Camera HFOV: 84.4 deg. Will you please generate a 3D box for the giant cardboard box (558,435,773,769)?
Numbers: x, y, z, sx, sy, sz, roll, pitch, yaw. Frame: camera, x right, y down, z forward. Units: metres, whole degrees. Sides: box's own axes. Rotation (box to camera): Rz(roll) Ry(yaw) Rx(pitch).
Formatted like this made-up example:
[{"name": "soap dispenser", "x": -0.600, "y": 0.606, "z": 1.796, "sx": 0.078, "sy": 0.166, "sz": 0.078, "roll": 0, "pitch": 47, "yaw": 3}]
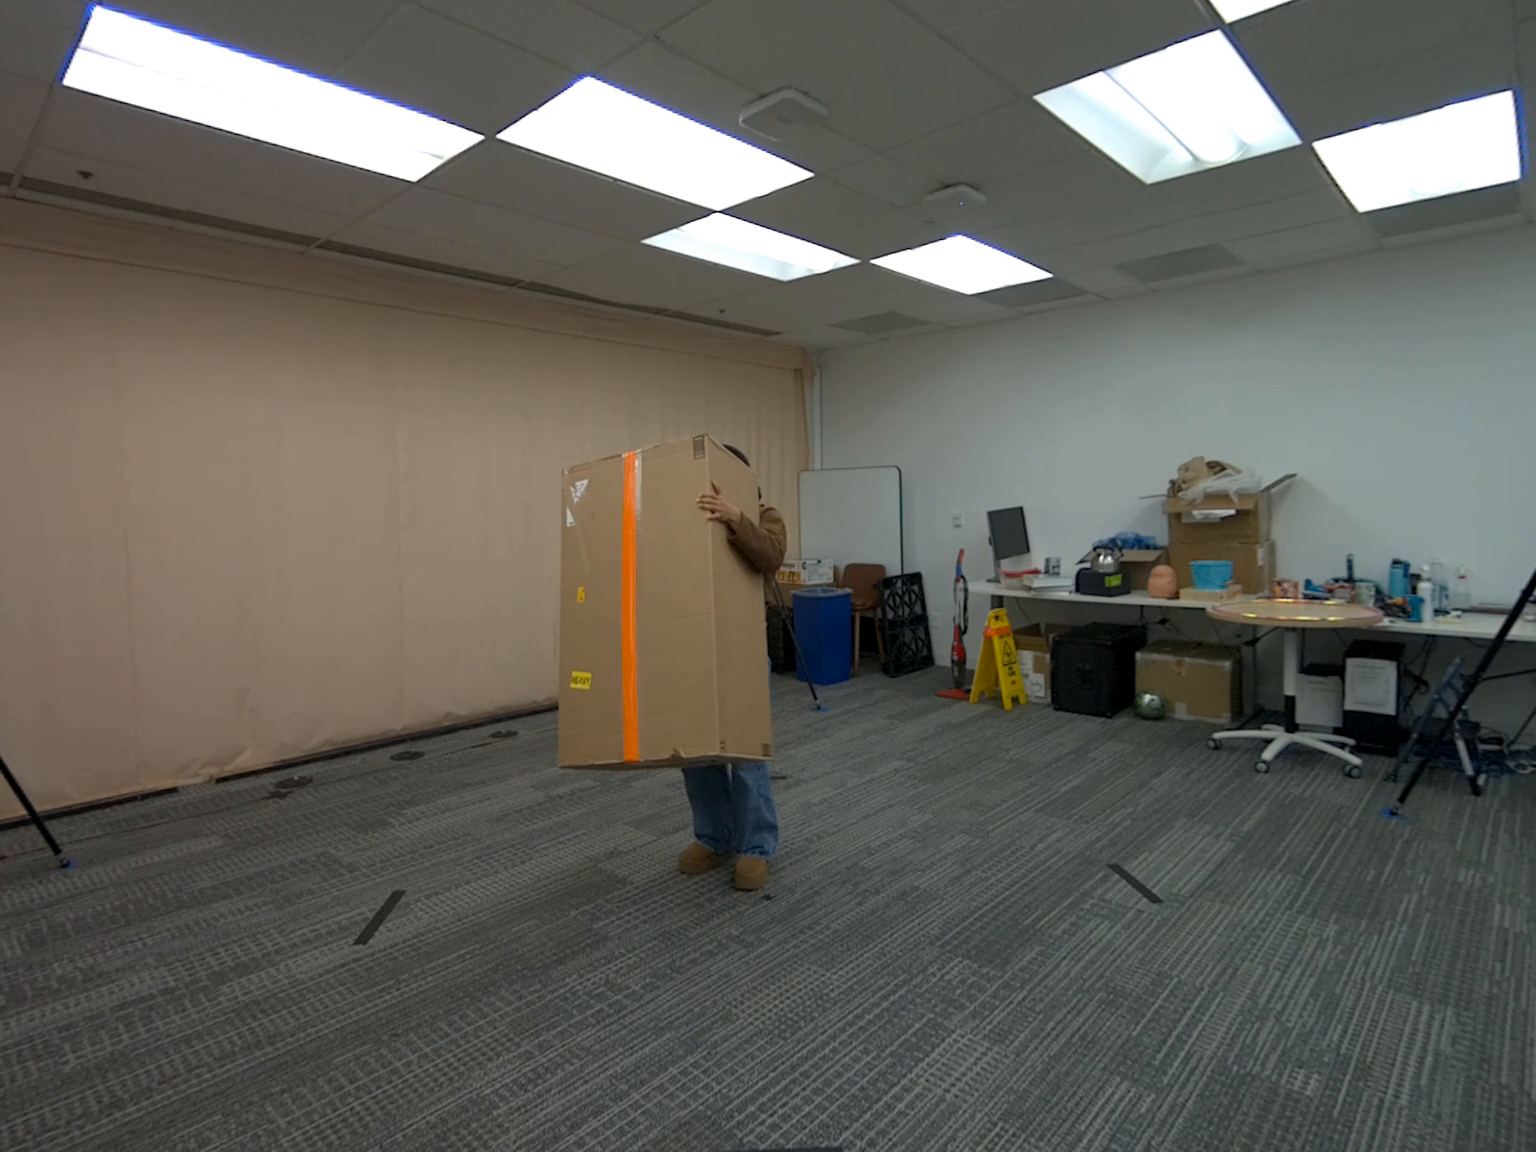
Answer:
[{"name": "giant cardboard box", "x": -0.355, "y": 0.121, "z": 2.879, "sx": 0.590, "sy": 1.037, "sz": 0.412, "roll": -11, "pitch": -18, "yaw": 25}]
